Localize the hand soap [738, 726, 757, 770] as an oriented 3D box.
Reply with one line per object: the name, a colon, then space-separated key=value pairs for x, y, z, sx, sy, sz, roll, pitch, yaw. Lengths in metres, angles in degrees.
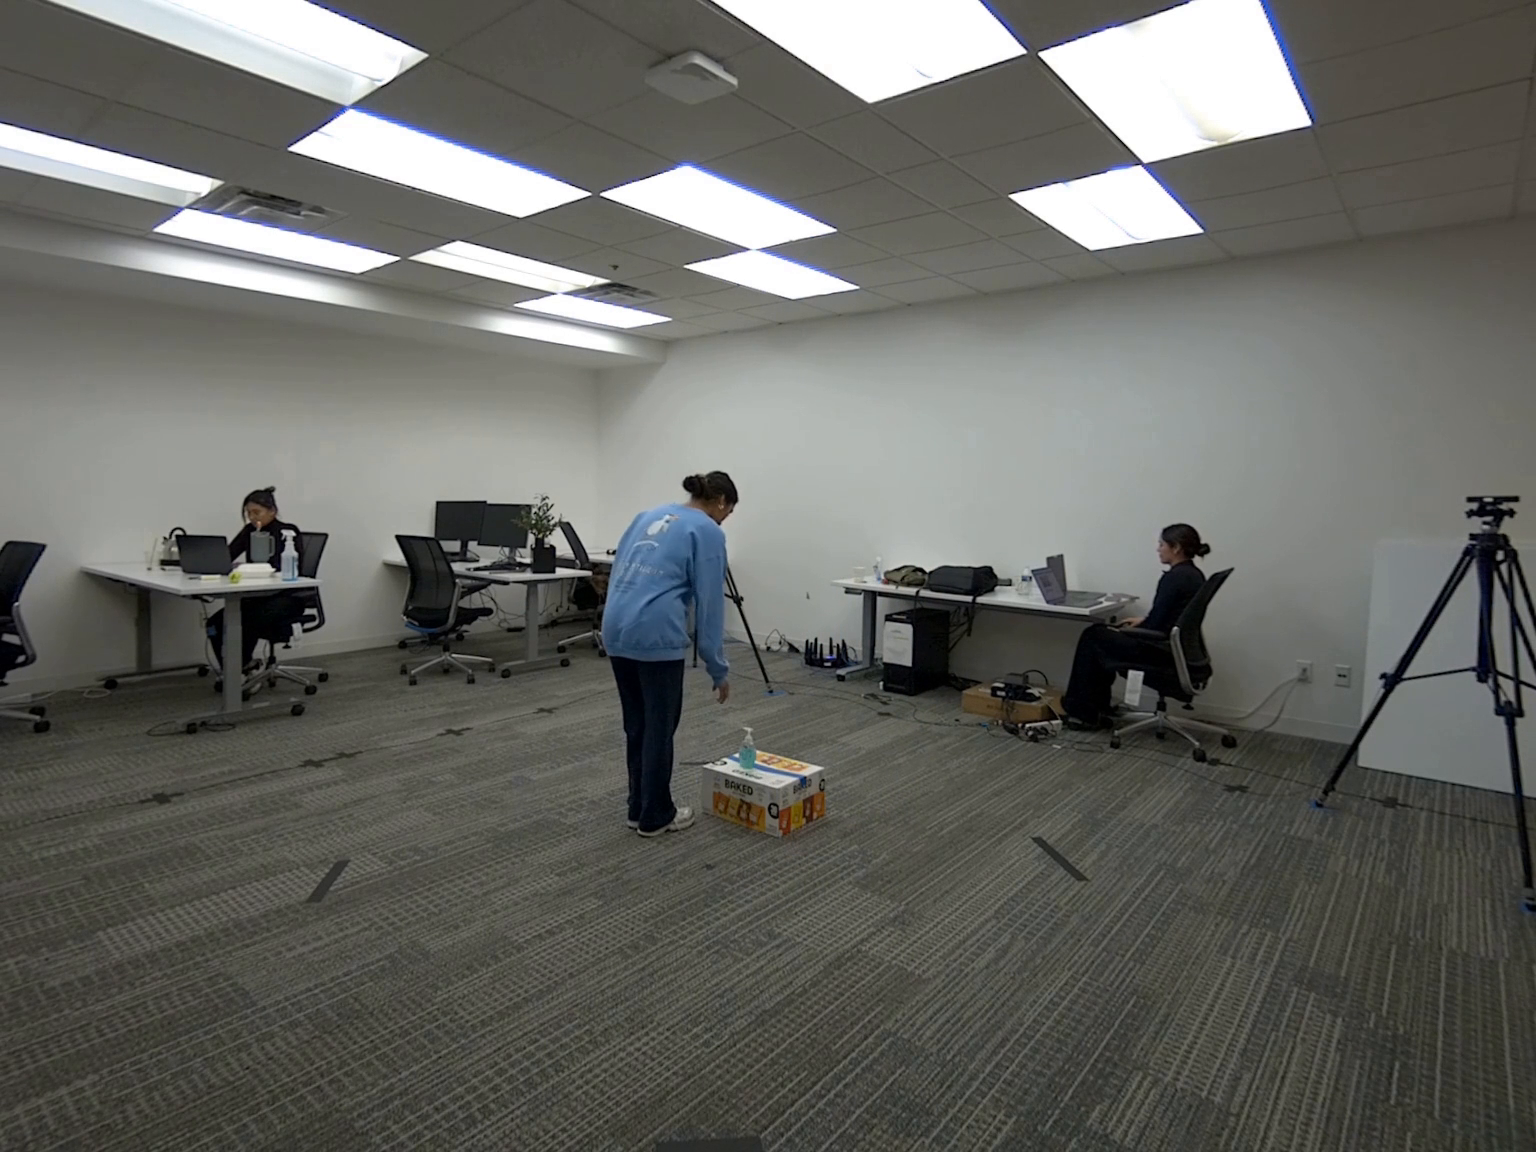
hand soap: x=-0.096 y=0.736 z=3.641 sx=0.087 sy=0.167 sz=0.042 roll=9 pitch=7 yaw=36
